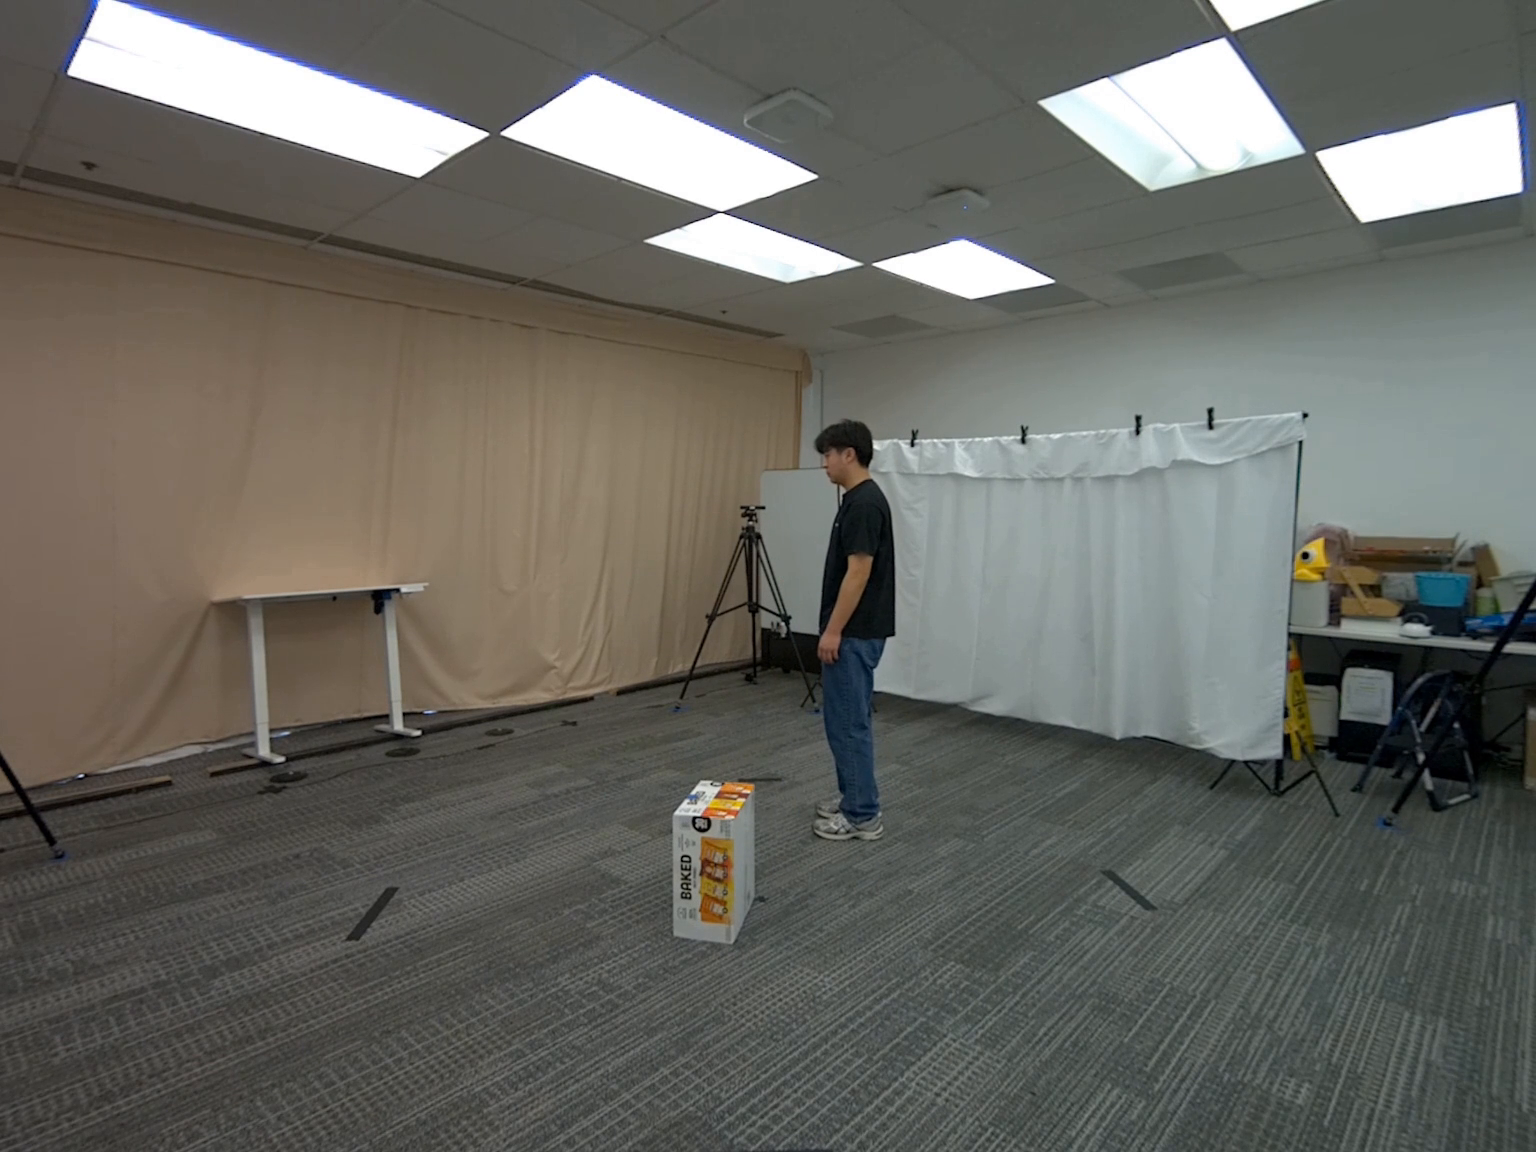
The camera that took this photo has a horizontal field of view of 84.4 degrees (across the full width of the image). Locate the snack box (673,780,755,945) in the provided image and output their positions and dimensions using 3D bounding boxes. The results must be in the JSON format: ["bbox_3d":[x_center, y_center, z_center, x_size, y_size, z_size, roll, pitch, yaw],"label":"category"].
[{"bbox_3d":[-0.171,0.952,2.848,0.209,0.404,0.336,0,3,12],"label":"snack box"}]
